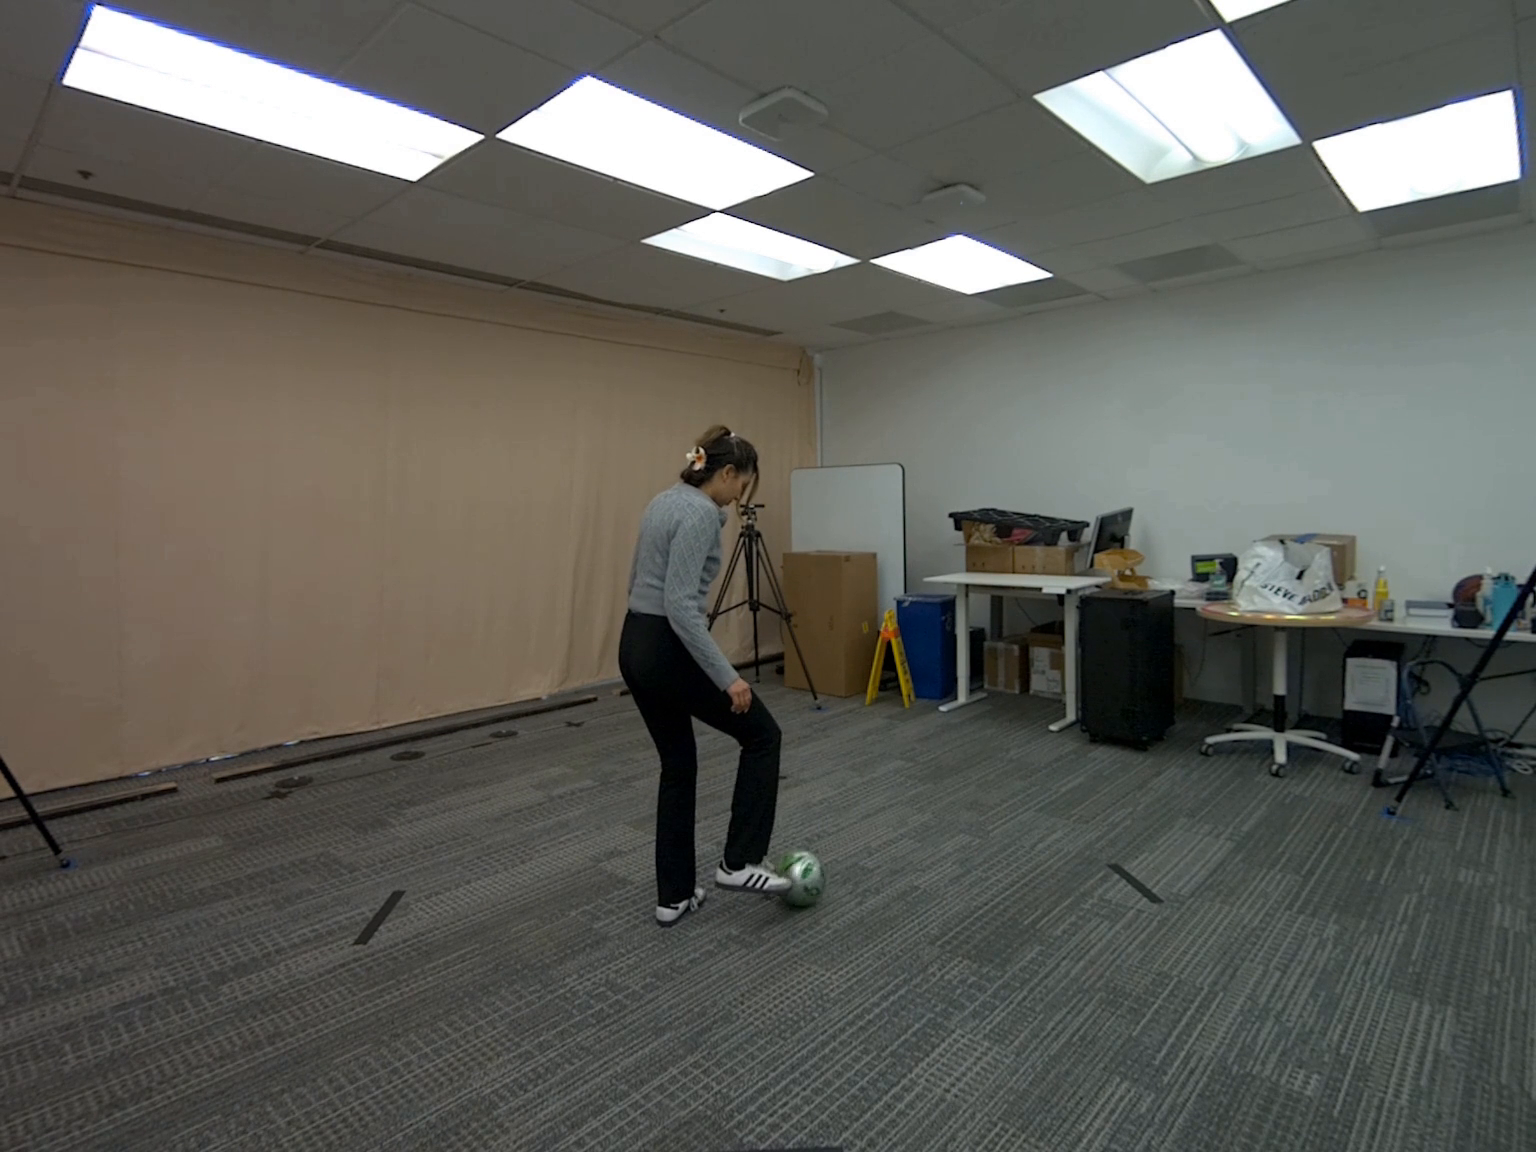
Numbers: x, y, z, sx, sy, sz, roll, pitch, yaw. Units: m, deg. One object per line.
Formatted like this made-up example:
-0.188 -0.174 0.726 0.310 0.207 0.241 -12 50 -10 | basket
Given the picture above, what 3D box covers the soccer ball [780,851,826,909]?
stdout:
0.122 1.044 2.939 0.187 0.187 0.188 -1 4 -2 | soccer ball
